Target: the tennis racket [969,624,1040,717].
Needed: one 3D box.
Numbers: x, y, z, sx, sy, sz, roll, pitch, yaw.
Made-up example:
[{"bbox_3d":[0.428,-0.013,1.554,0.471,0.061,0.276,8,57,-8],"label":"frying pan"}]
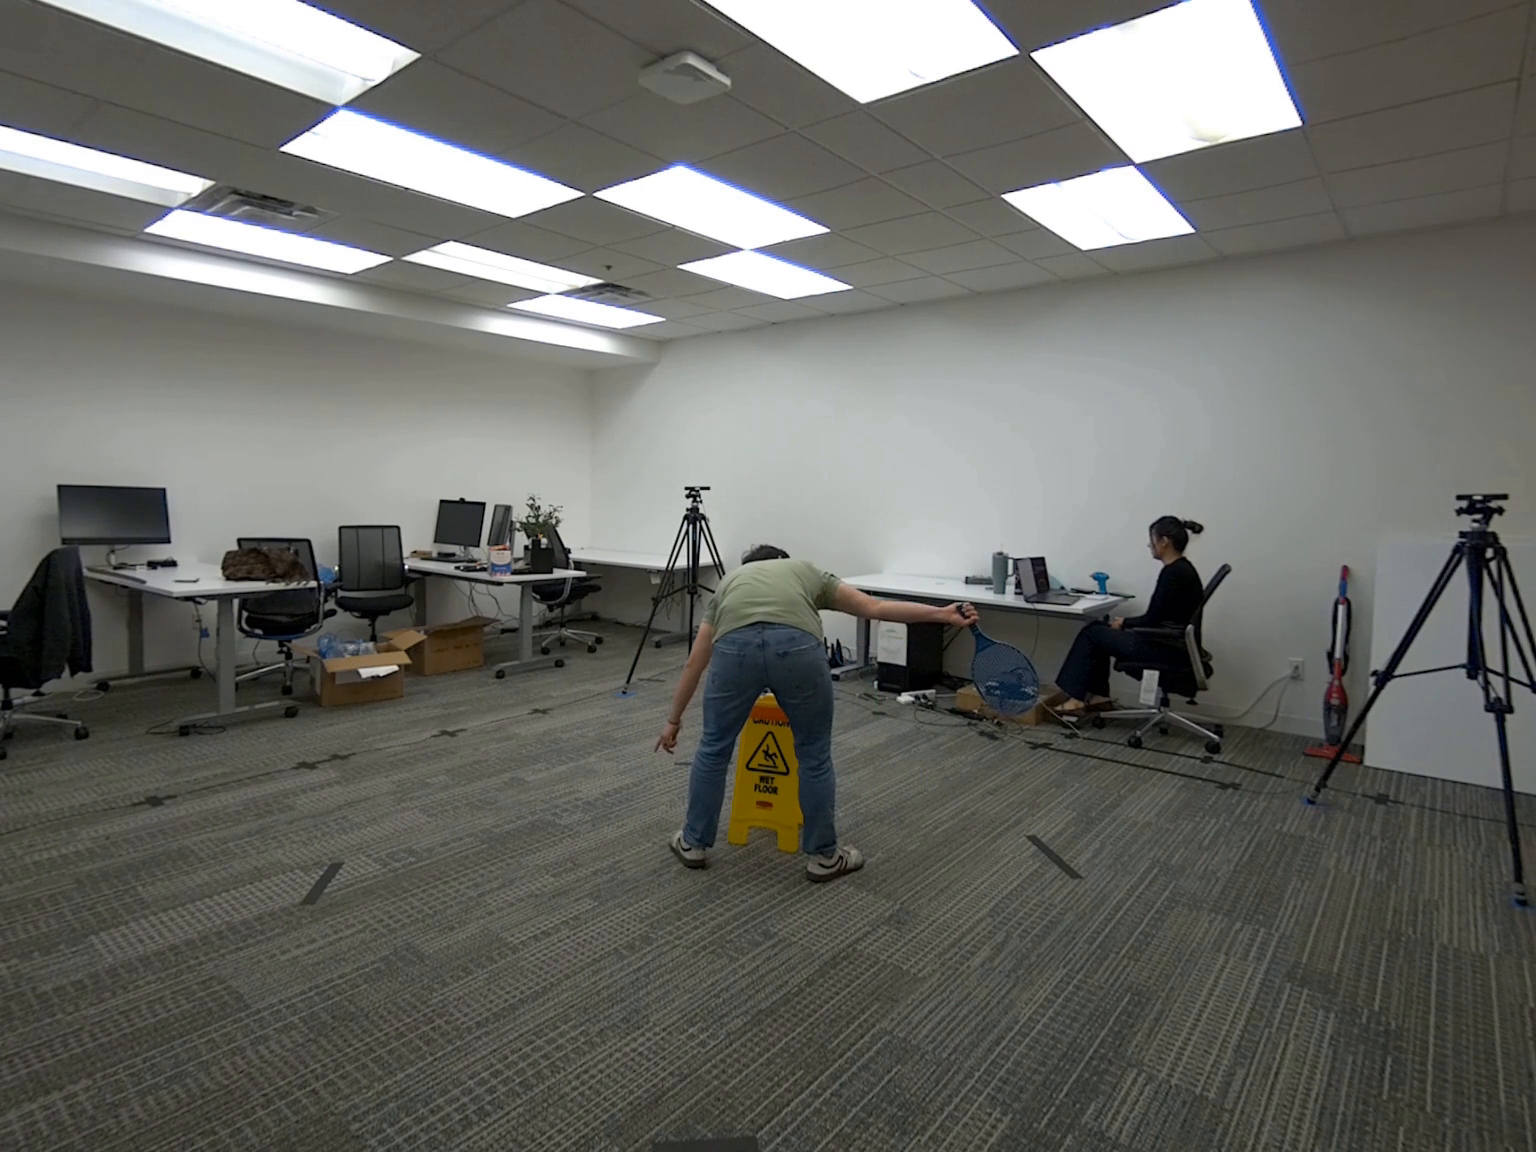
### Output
[{"bbox_3d":[0.786,0.314,3.042,0.215,0.438,0.031,-35,-9,21],"label":"tennis racket"}]
